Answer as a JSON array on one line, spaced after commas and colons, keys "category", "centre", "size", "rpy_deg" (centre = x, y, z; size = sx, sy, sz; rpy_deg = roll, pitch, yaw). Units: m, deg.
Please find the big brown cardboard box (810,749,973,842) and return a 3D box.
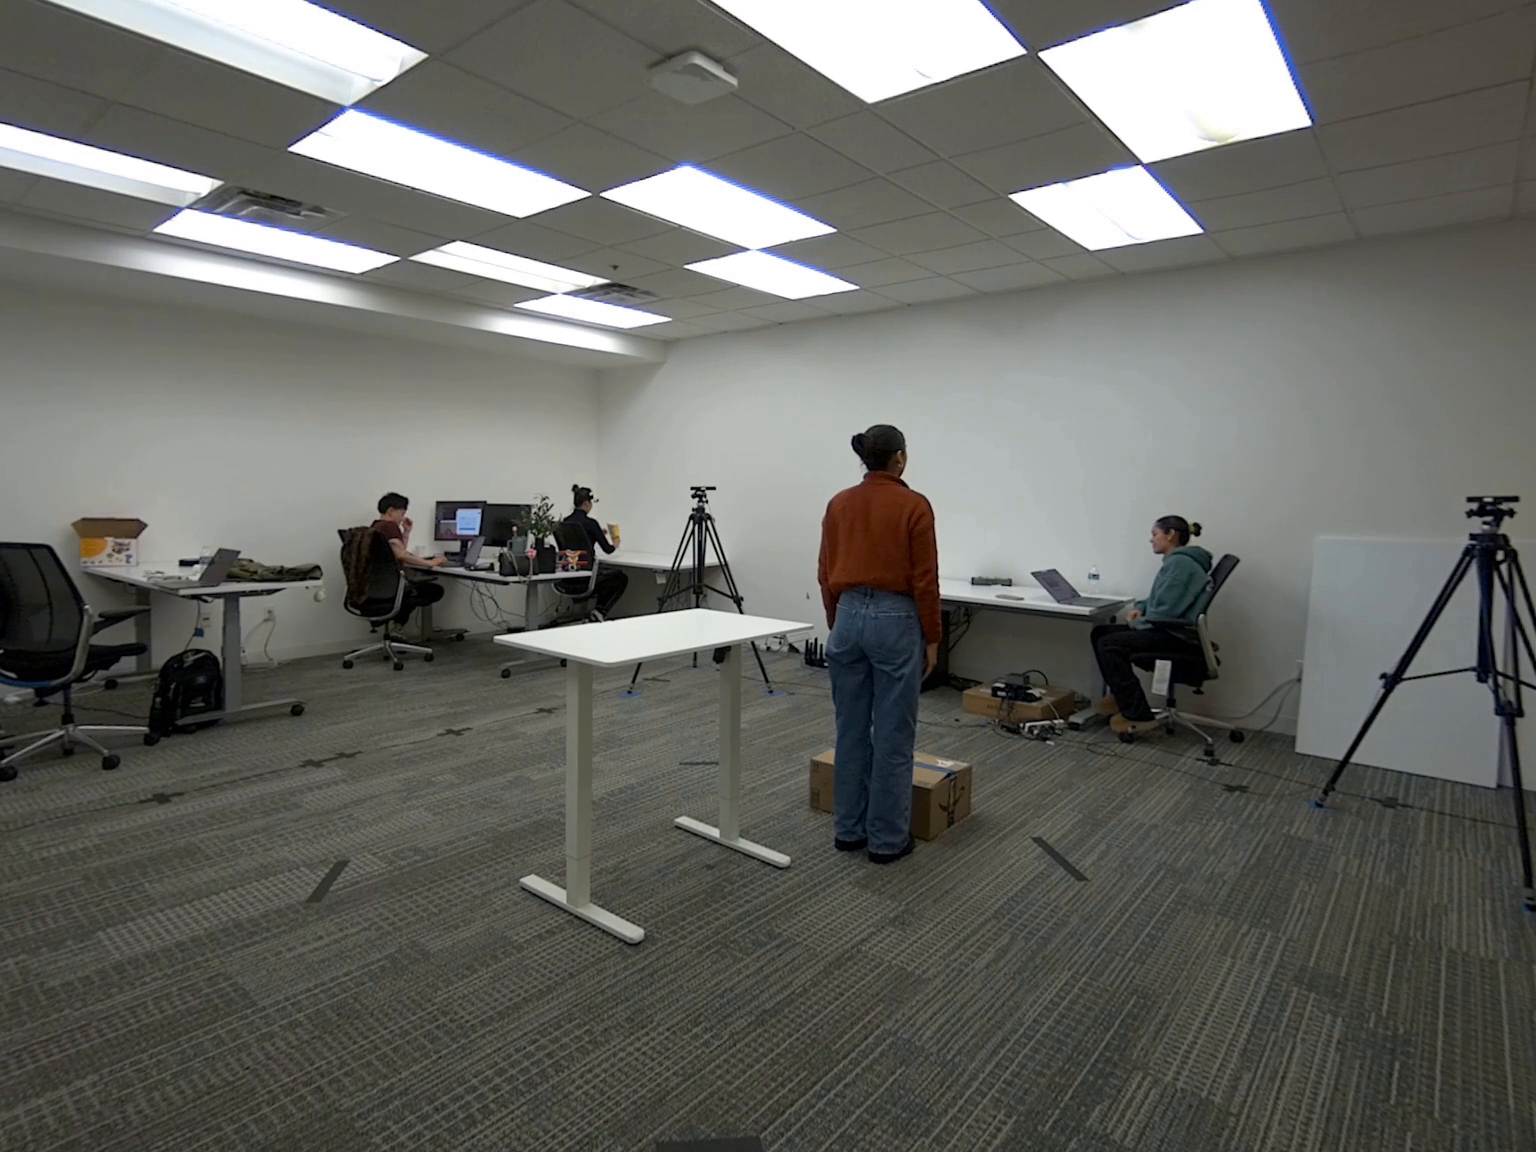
[{"category": "big brown cardboard box", "centre": [0.530, 0.906, 3.708], "size": [0.608, 0.232, 0.406], "rpy_deg": [4, 6, 36]}]
